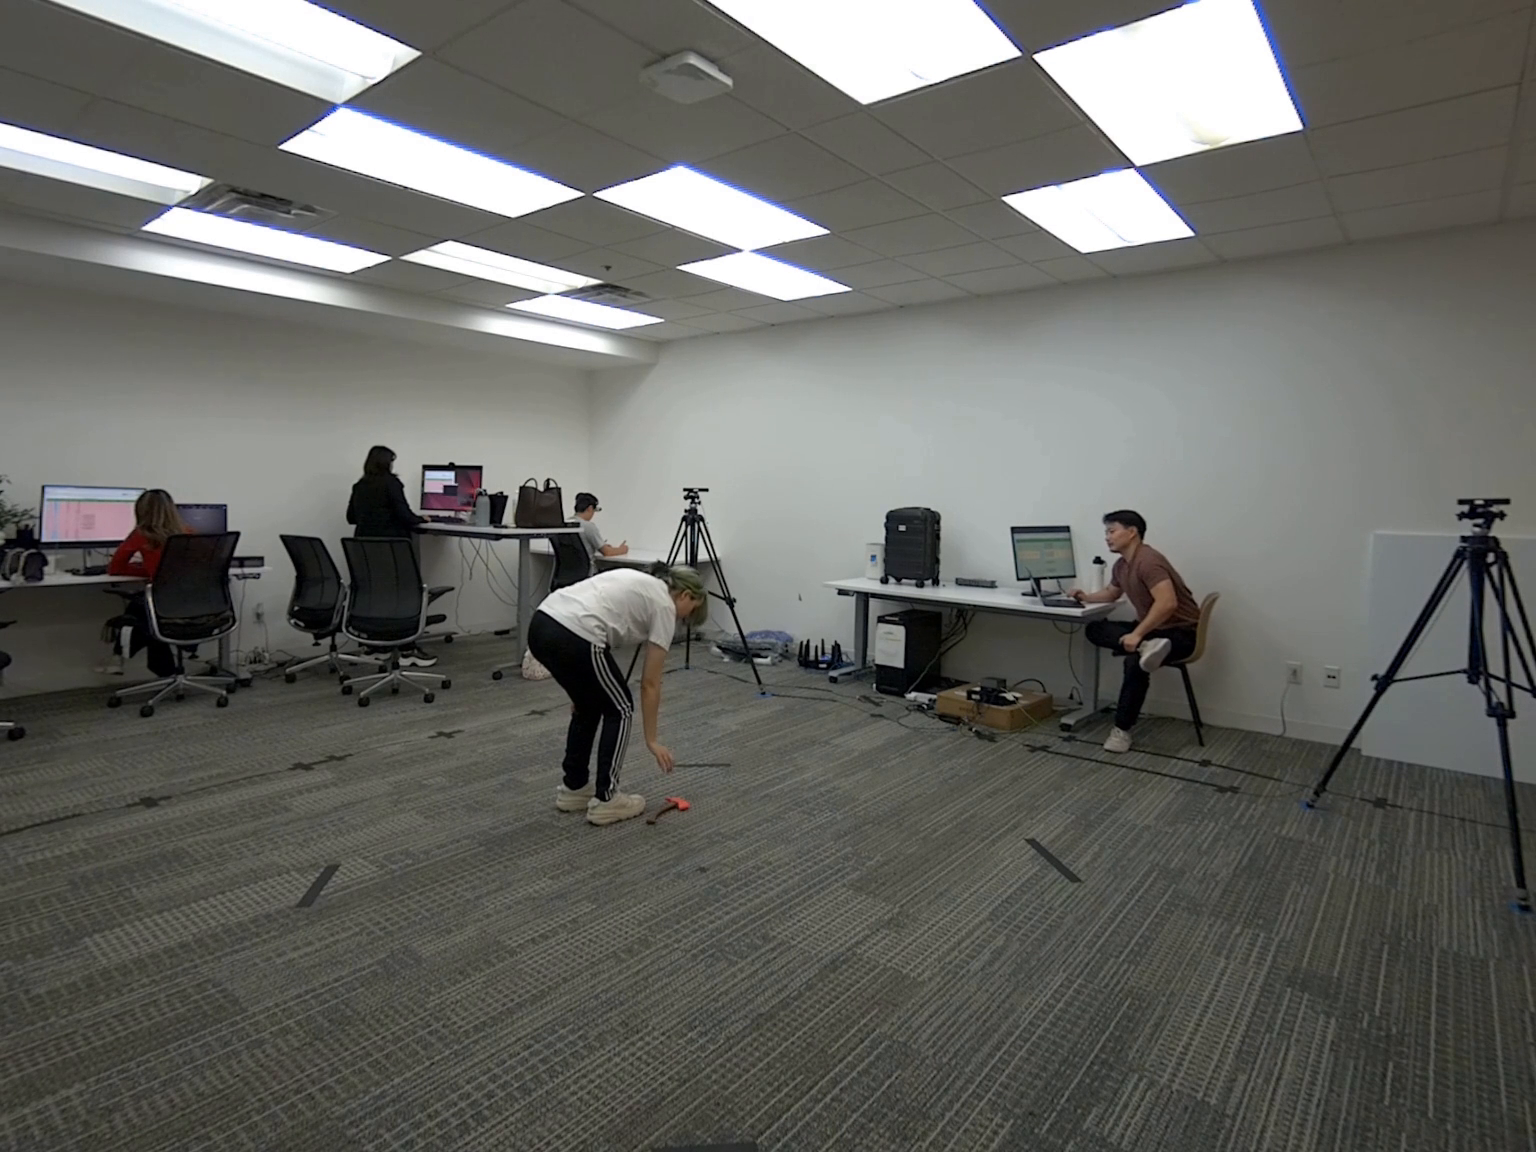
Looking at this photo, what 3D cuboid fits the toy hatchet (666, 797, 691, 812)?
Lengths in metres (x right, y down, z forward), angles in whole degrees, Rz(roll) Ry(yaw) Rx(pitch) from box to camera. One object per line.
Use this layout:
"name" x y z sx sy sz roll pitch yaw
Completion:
"toy hatchet" -0.426 1.008 3.627 0.133 0.029 0.268 3 8 10
